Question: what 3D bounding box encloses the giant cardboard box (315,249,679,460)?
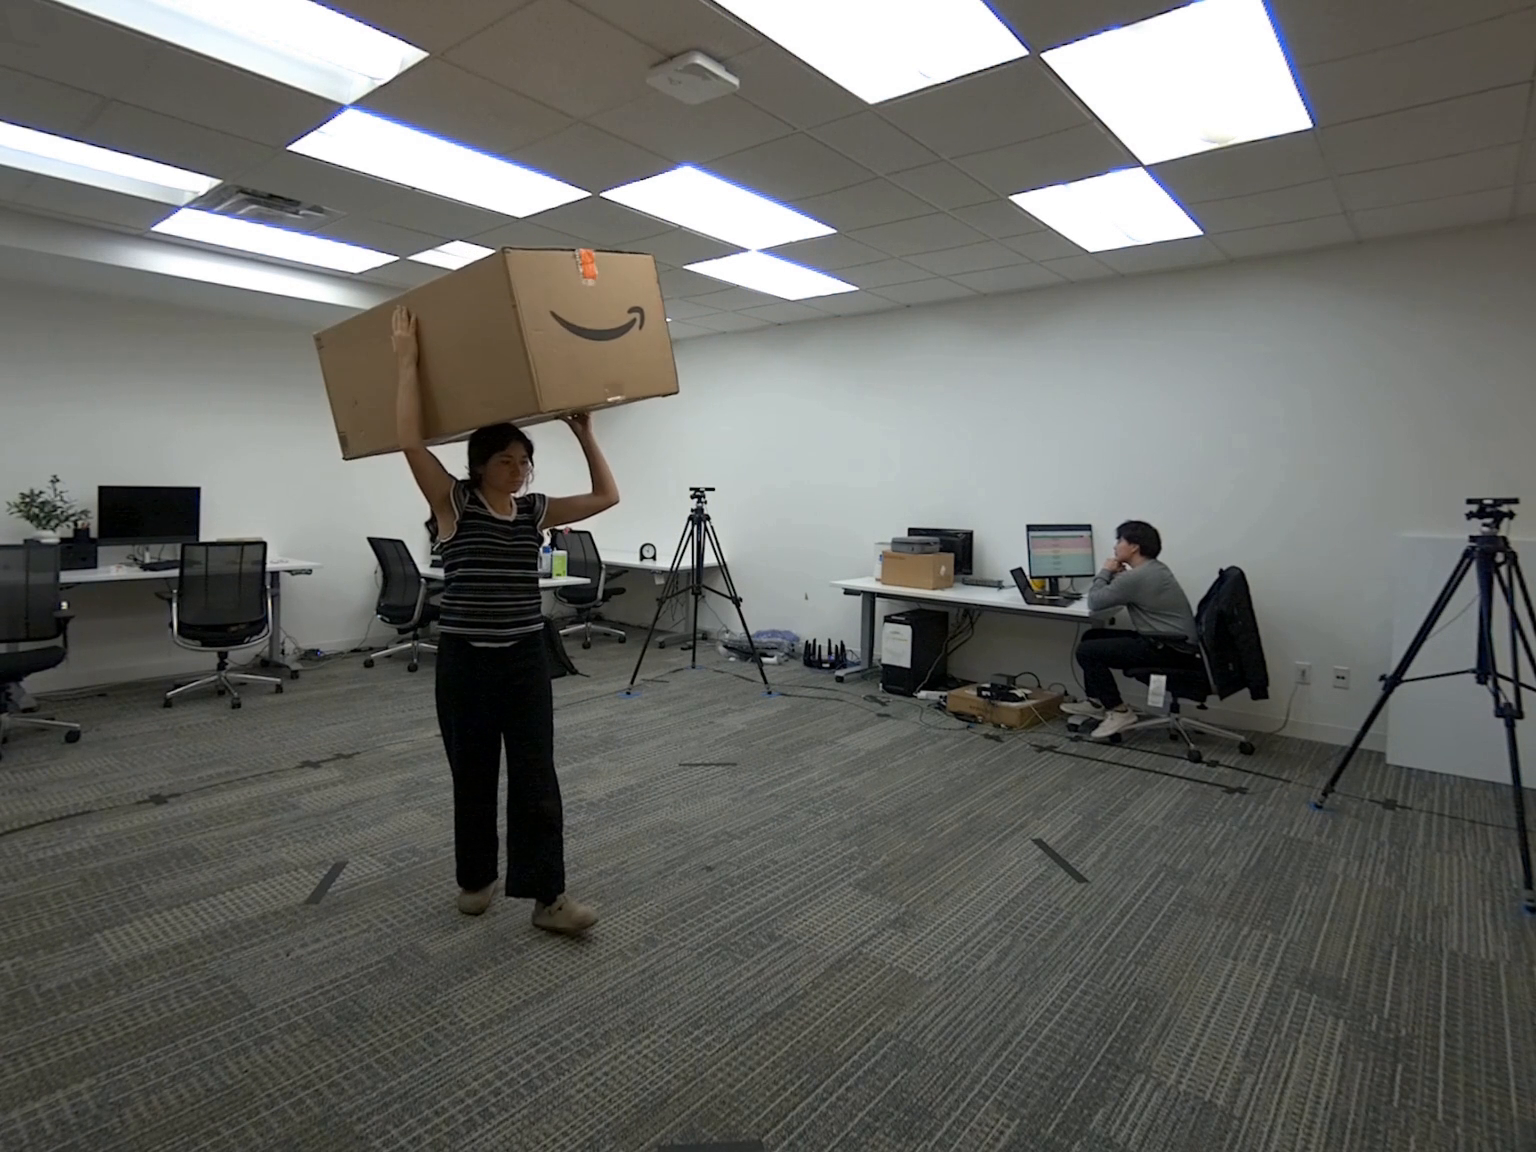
[{"bbox_3d":[-0.881,-0.677,2.690,1.056,0.422,0.566,-3,12,37],"label":"giant cardboard box"}]
